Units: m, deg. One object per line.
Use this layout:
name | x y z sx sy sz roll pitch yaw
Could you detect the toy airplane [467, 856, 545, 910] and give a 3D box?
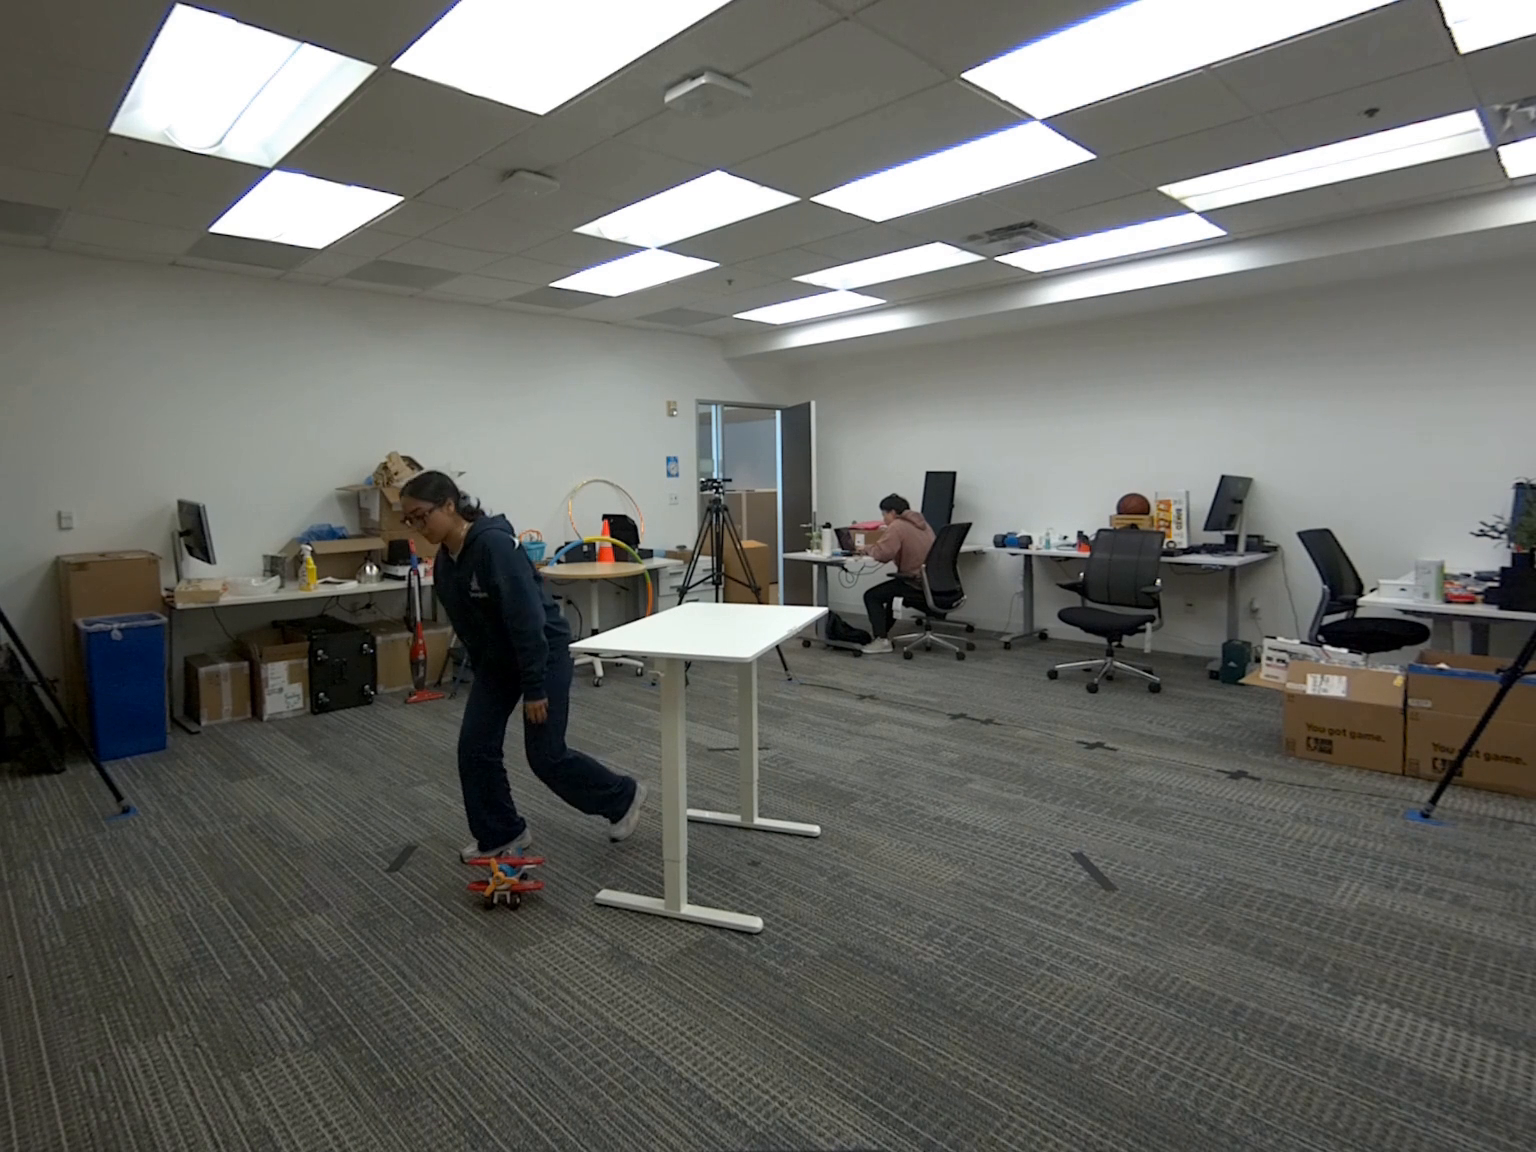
toy airplane | -0.897 1.016 2.889 0.245 0.156 0.266 -2 5 -30
